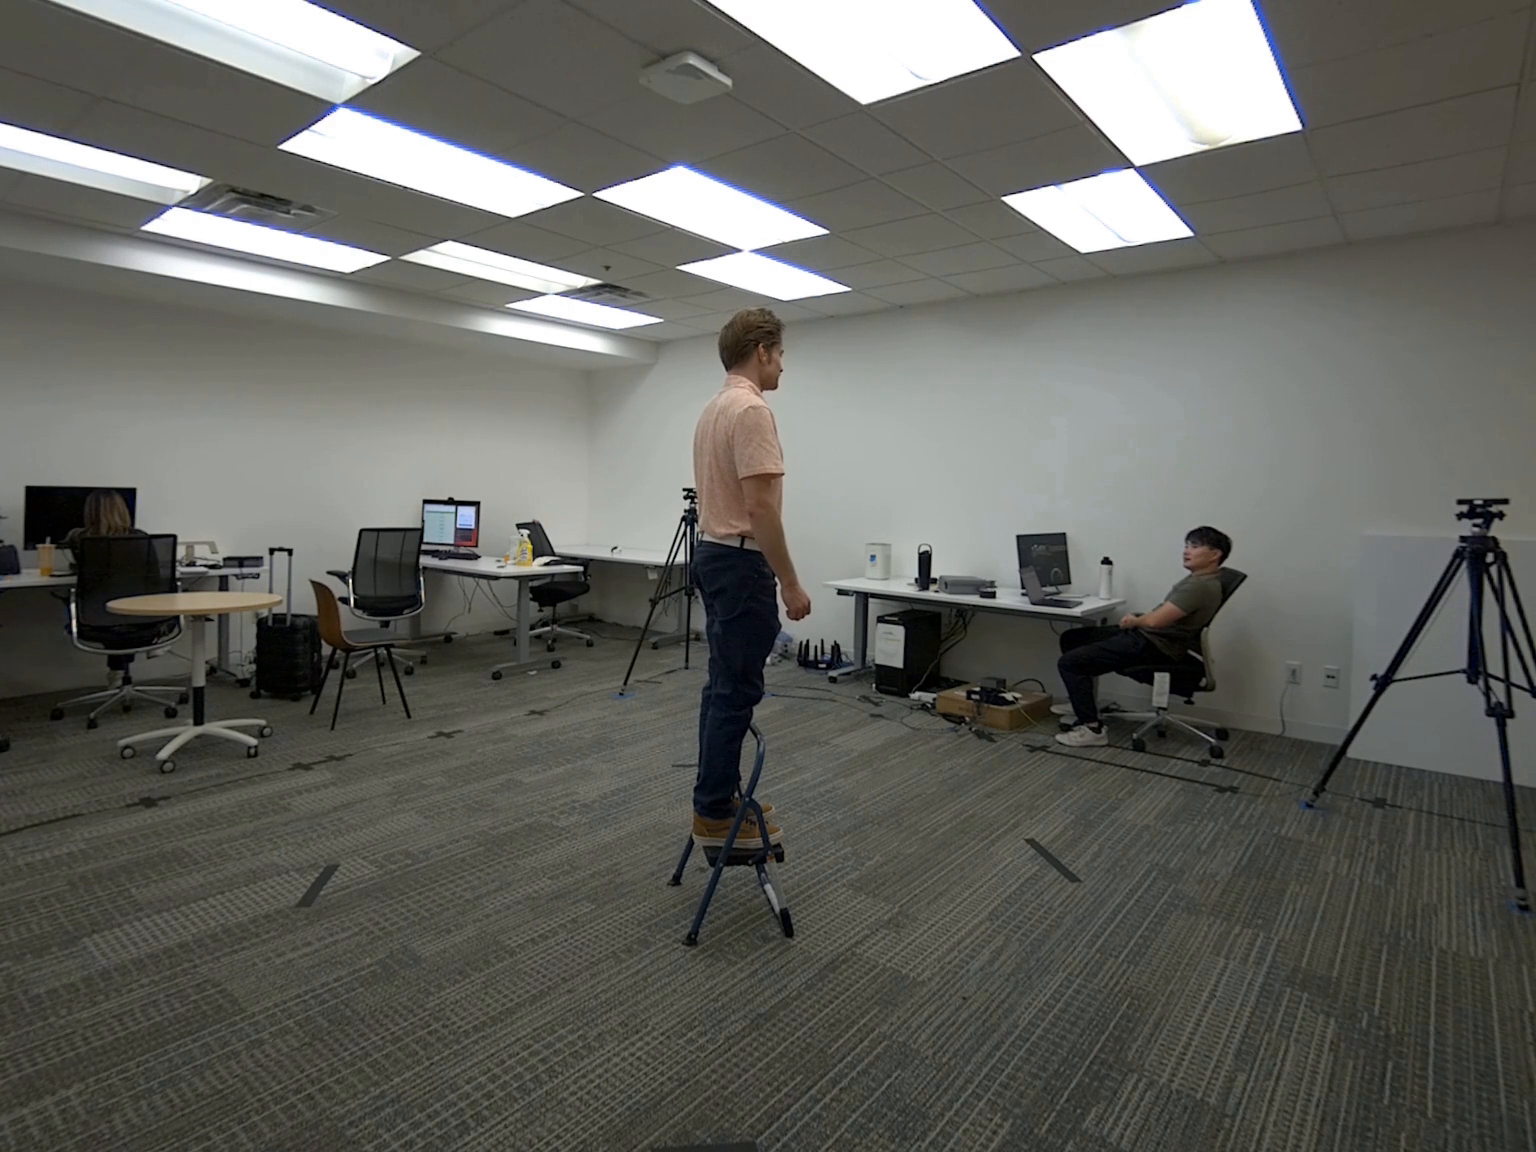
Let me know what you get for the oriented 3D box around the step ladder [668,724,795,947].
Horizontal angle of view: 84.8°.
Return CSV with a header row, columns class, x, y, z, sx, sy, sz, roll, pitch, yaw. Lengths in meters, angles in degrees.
class,x,y,z,sx,sy,sz,roll,pitch,yaw
step ladder,-0.130,0.803,2.802,0.345,0.604,0.438,0,4,-13
